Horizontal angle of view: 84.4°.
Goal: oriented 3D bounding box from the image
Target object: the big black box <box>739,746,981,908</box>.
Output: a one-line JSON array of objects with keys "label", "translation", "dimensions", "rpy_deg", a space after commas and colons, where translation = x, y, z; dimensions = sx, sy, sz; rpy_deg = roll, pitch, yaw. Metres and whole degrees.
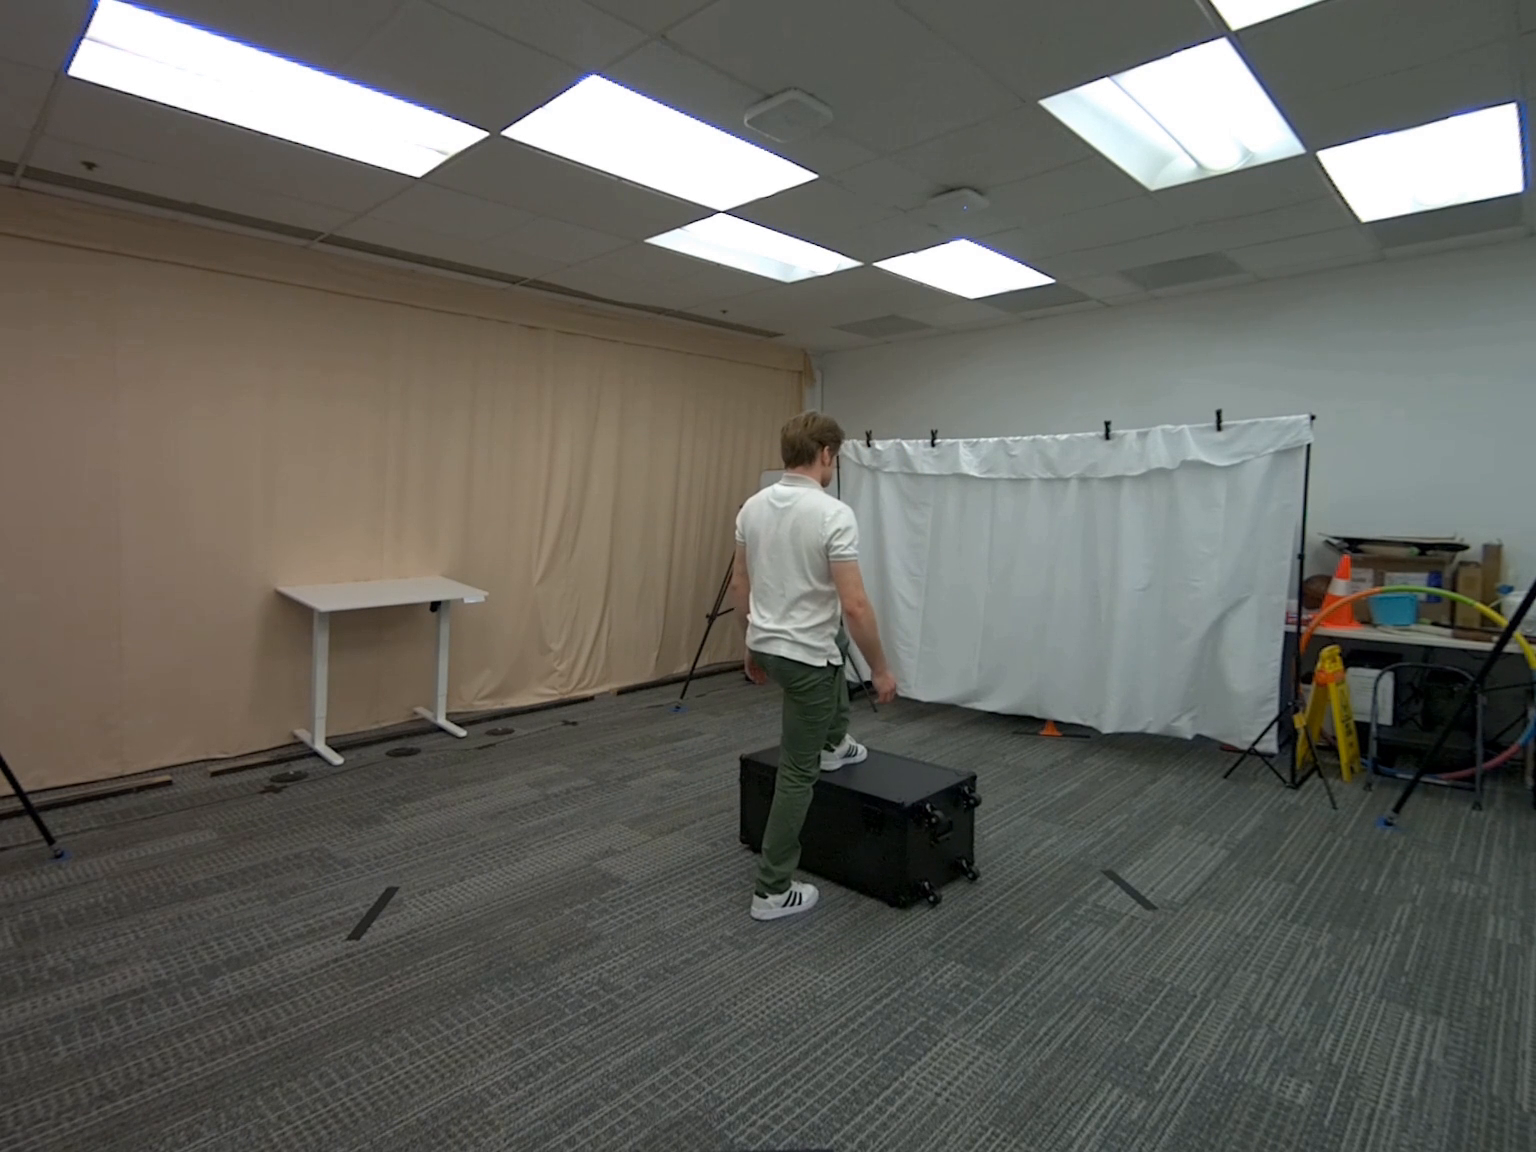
[{"label": "big black box", "translation": [0.363, 0.926, 3.276], "dimensions": [0.898, 0.384, 0.507], "rpy_deg": [5, 5, 43]}]
